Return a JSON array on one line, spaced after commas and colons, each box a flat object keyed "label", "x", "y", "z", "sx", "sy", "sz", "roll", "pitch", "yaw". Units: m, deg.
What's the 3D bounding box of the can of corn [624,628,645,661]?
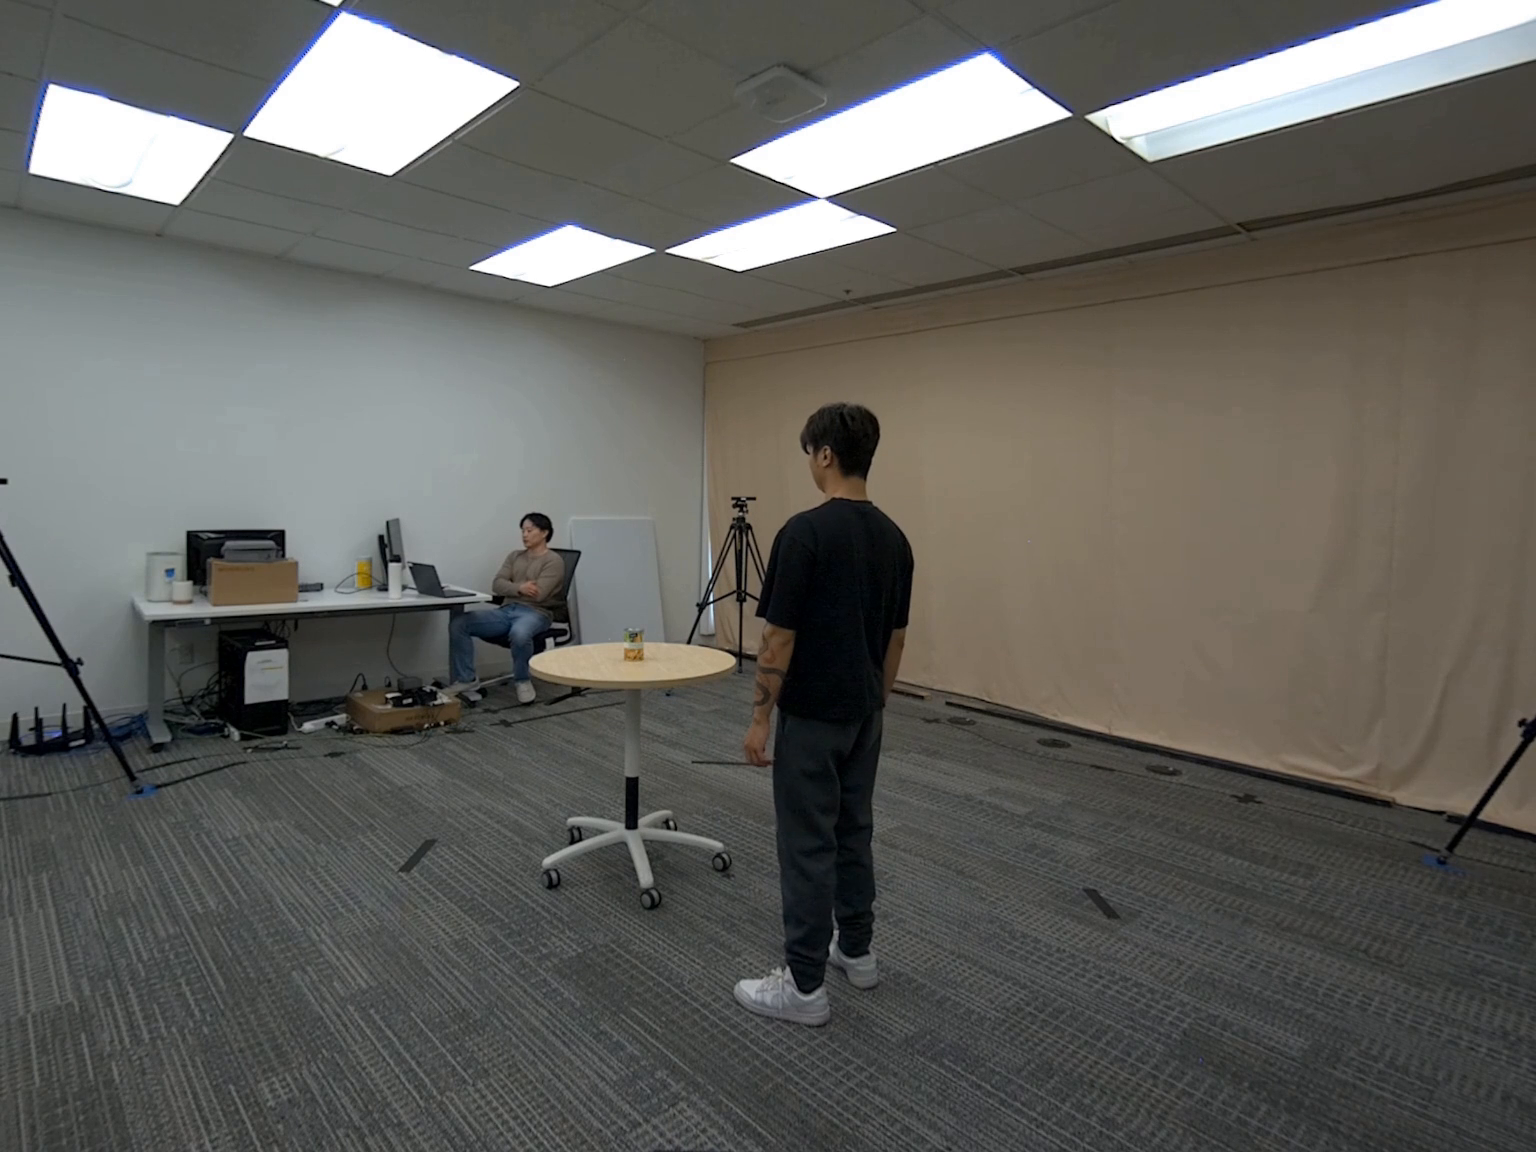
[{"label": "can of corn", "x": -0.510, "y": 0.258, "z": 3.139, "sx": 0.074, "sy": 0.111, "sz": 0.074, "roll": -1, "pitch": 2, "yaw": -1}]
